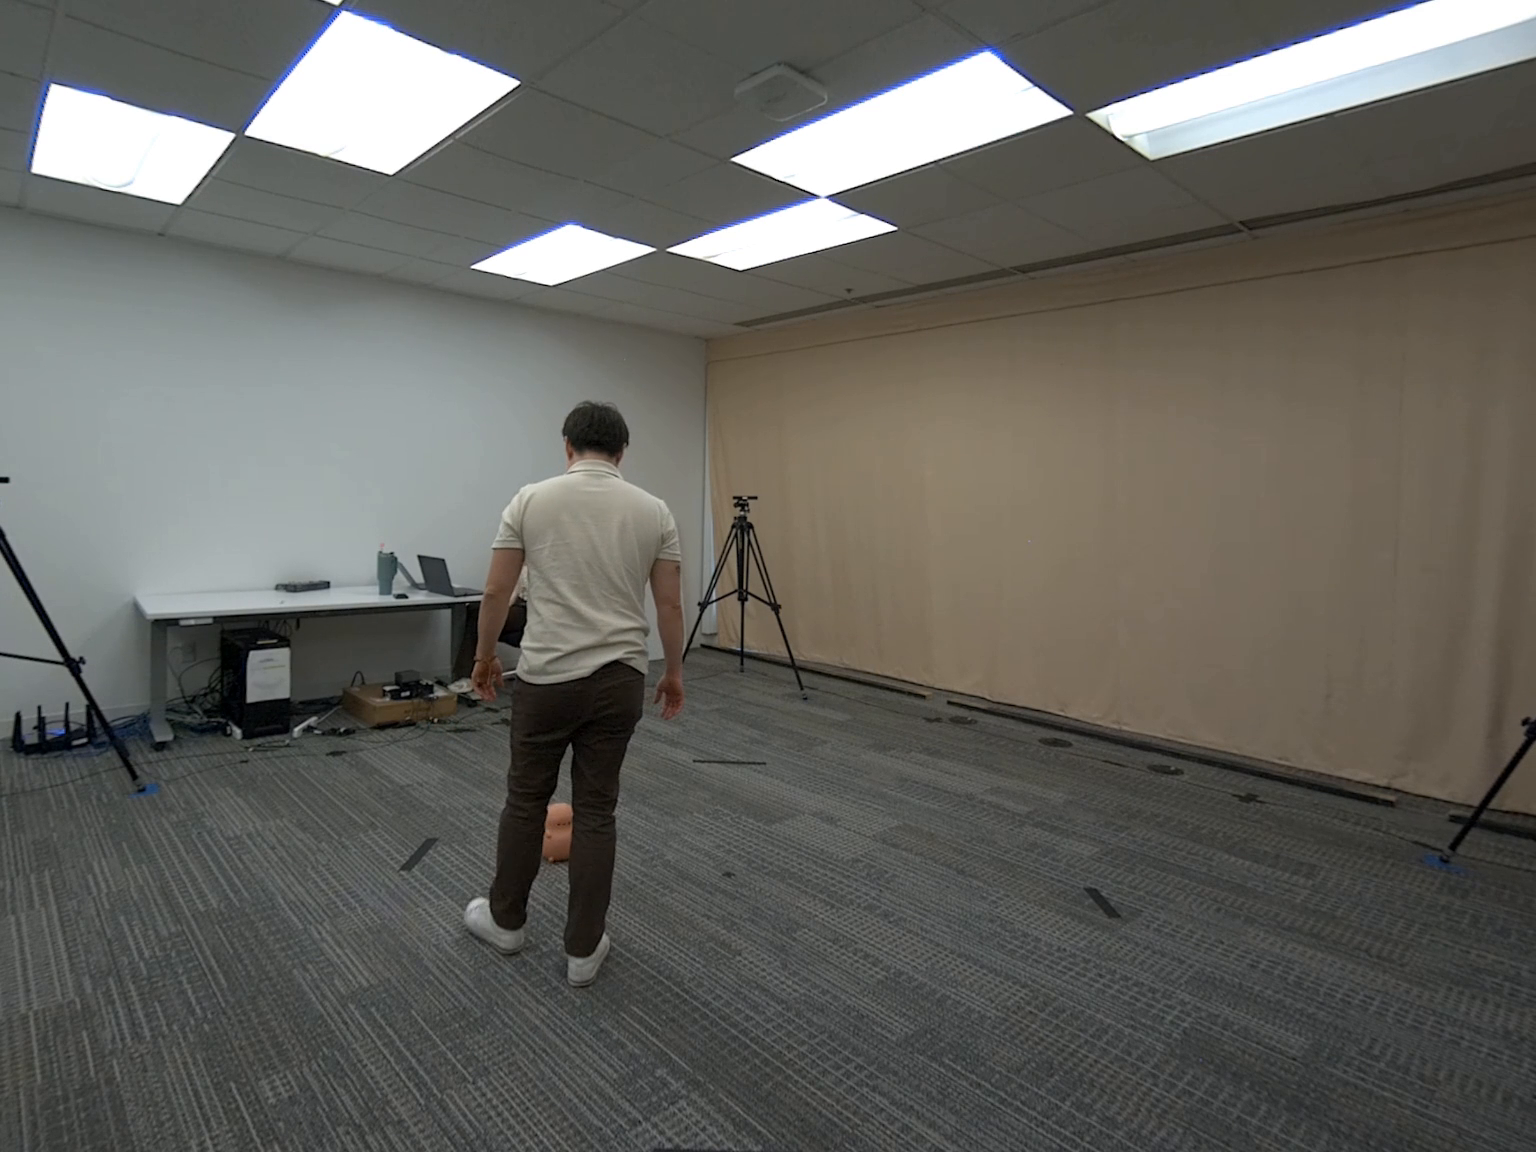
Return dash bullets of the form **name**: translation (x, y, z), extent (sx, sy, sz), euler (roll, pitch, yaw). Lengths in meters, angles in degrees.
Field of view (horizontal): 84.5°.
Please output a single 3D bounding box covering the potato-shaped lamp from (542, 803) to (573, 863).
- **potato-shaped lamp**: translation (-0.808, 0.979, 3.235), extent (0.162, 0.197, 0.175), euler (0, 4, -24)
